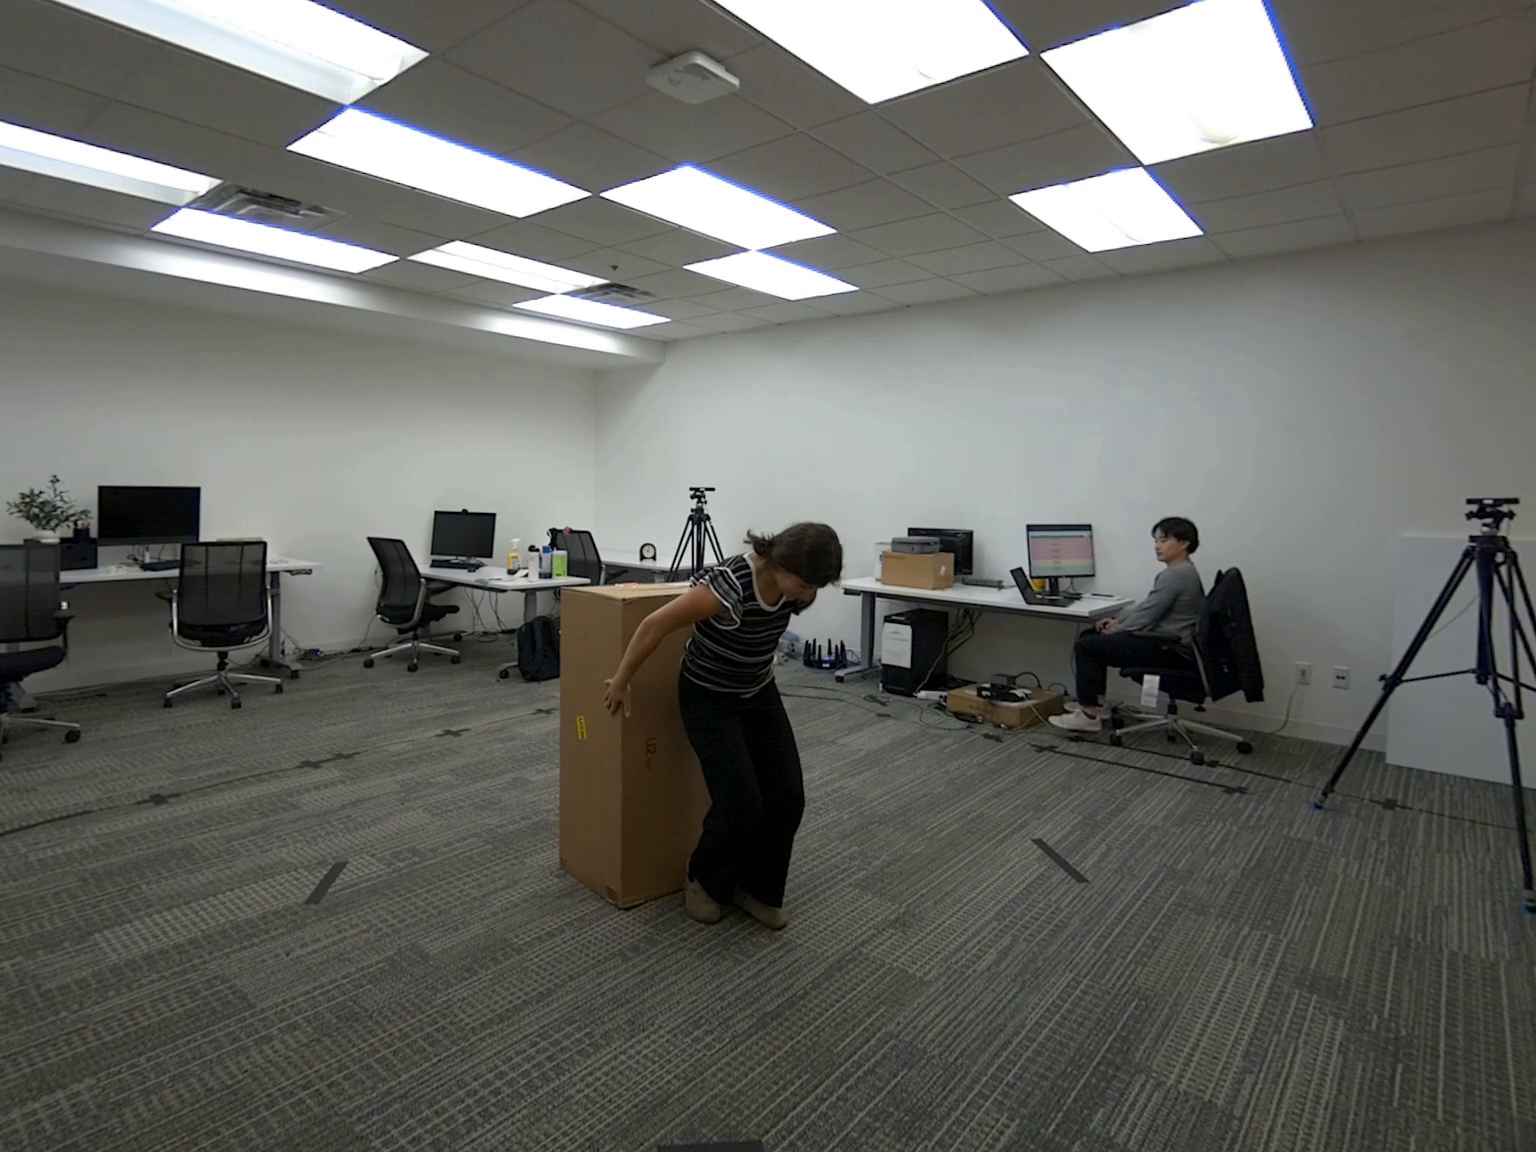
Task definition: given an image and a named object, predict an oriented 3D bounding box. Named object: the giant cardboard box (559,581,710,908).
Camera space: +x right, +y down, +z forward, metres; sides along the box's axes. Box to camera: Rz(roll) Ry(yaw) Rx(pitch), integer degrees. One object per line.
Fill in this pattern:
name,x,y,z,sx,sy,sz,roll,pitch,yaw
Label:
giant cardboard box,-0.417,0.552,3.102,0.560,1.023,0.440,-1,3,-41
